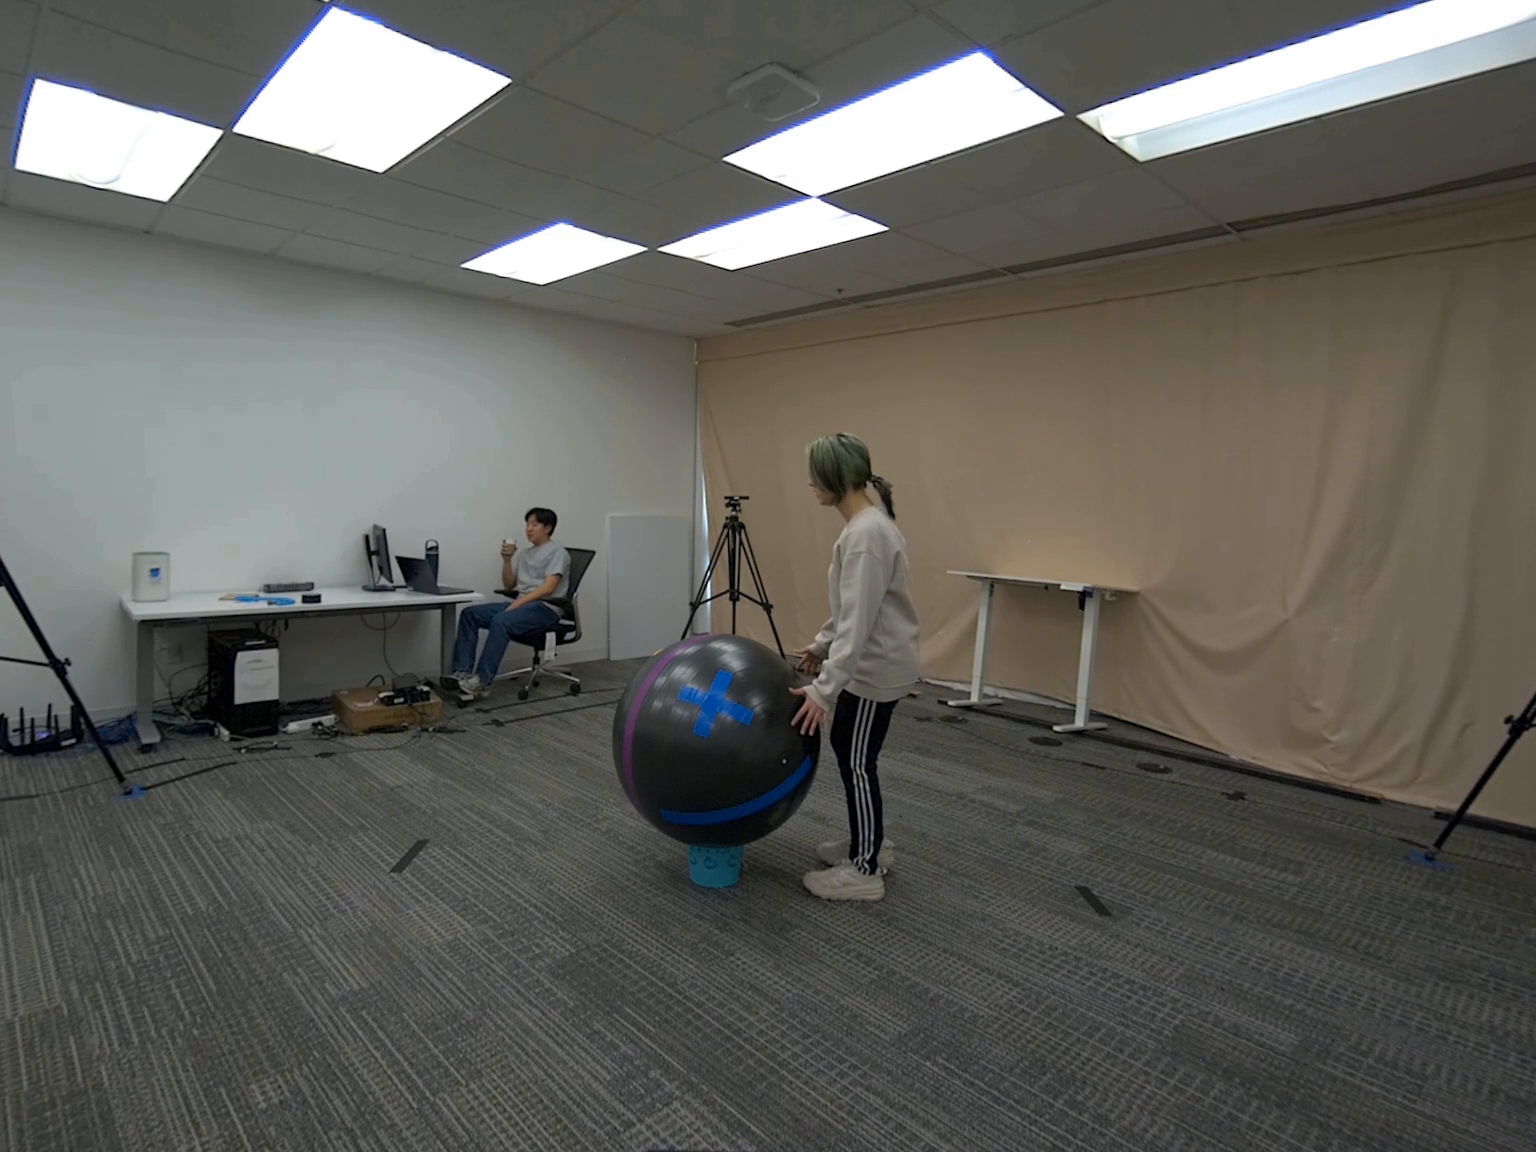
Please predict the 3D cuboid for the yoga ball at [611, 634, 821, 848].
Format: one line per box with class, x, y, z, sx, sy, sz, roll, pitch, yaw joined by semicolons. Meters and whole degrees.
yoga ball;-0.200;0.597;3.070;0.757;0.756;0.761;1;4;-1
